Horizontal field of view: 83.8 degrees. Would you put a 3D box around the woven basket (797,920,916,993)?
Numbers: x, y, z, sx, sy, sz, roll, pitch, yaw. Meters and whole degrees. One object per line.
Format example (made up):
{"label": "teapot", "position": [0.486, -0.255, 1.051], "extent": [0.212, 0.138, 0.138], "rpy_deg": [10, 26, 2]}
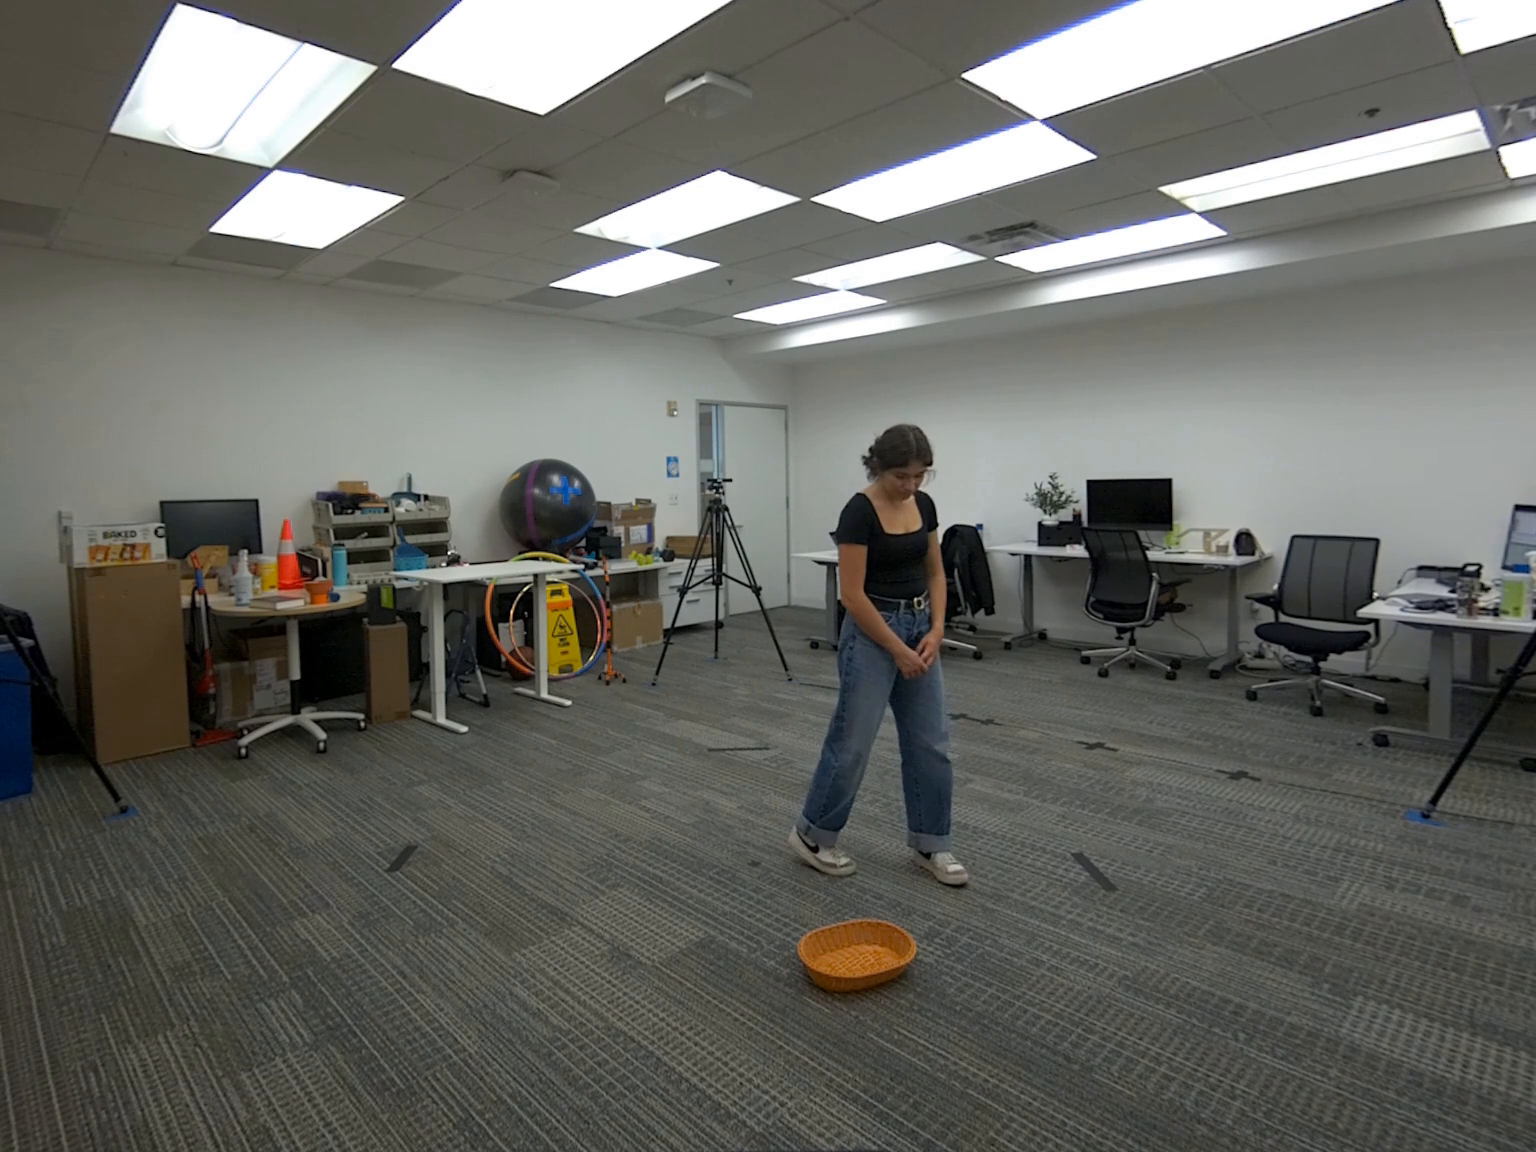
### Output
{"label": "woven basket", "position": [0.256, 1.080, 2.424], "extent": [0.343, 0.073, 0.259], "rpy_deg": [-4, 8, -23]}
